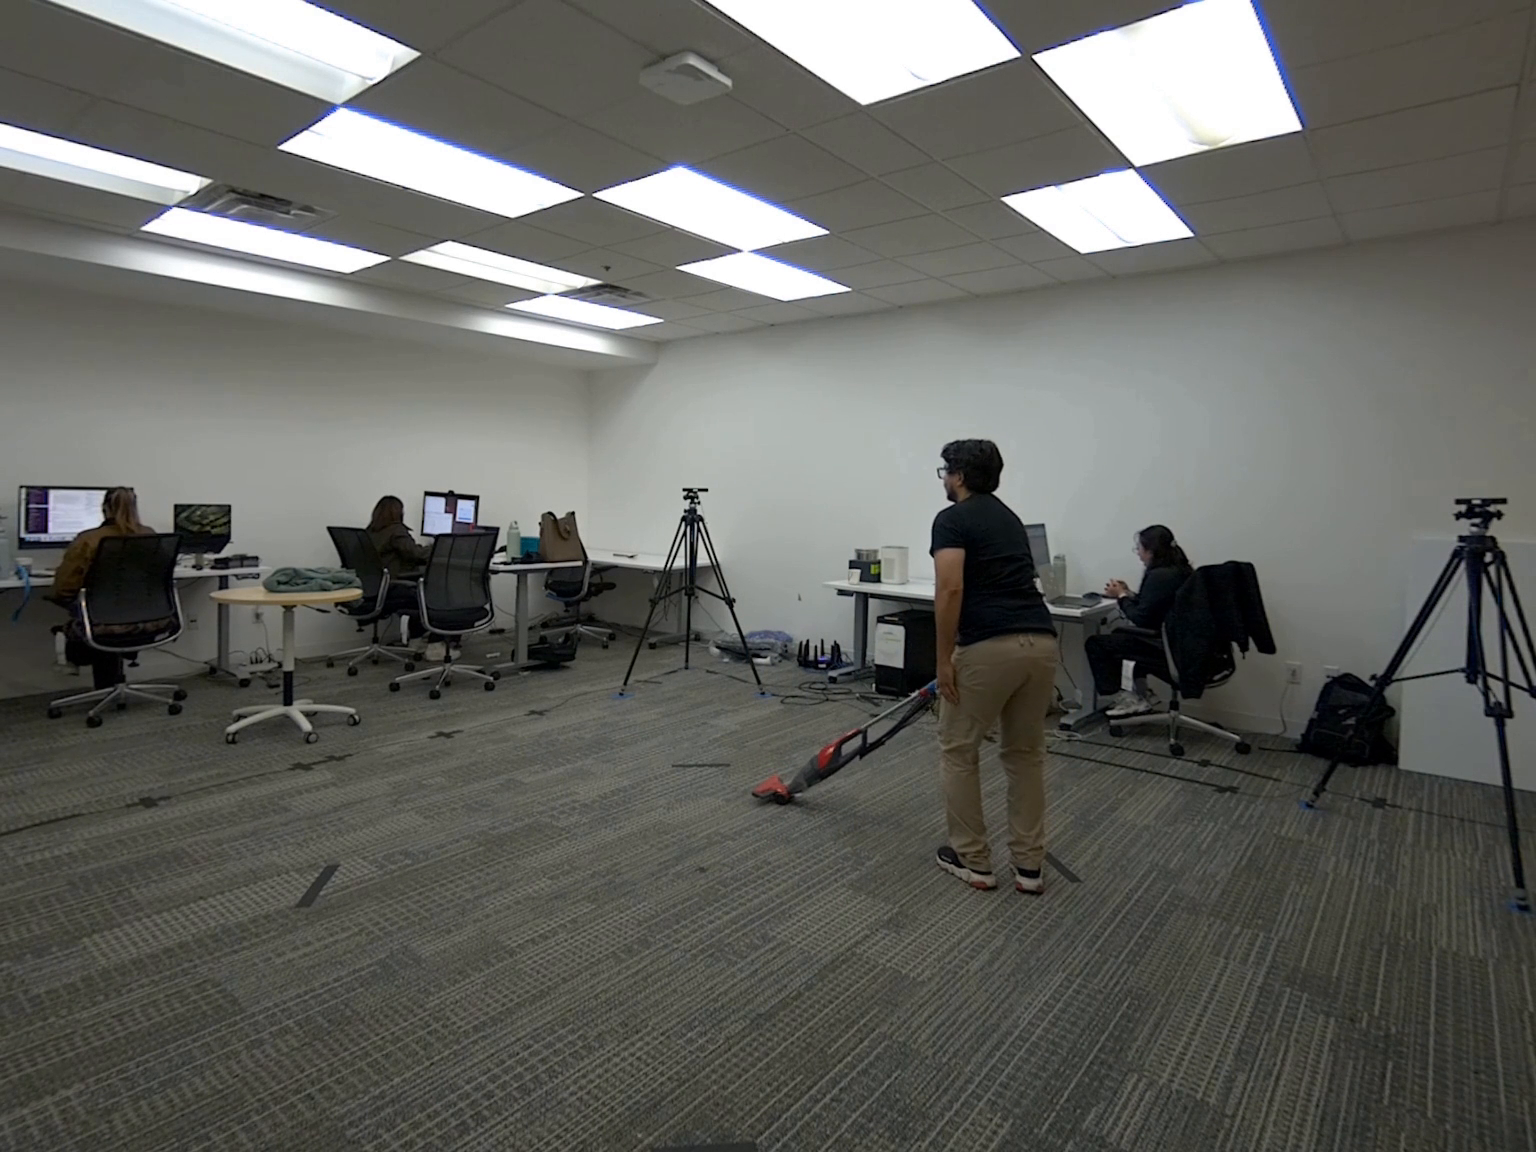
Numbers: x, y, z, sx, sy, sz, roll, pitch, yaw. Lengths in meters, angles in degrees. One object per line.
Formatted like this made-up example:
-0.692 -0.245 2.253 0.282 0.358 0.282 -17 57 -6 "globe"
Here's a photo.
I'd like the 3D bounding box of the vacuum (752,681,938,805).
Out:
0.418 0.691 3.646 1.055 0.146 0.247 -35 -11 21 "vacuum"
